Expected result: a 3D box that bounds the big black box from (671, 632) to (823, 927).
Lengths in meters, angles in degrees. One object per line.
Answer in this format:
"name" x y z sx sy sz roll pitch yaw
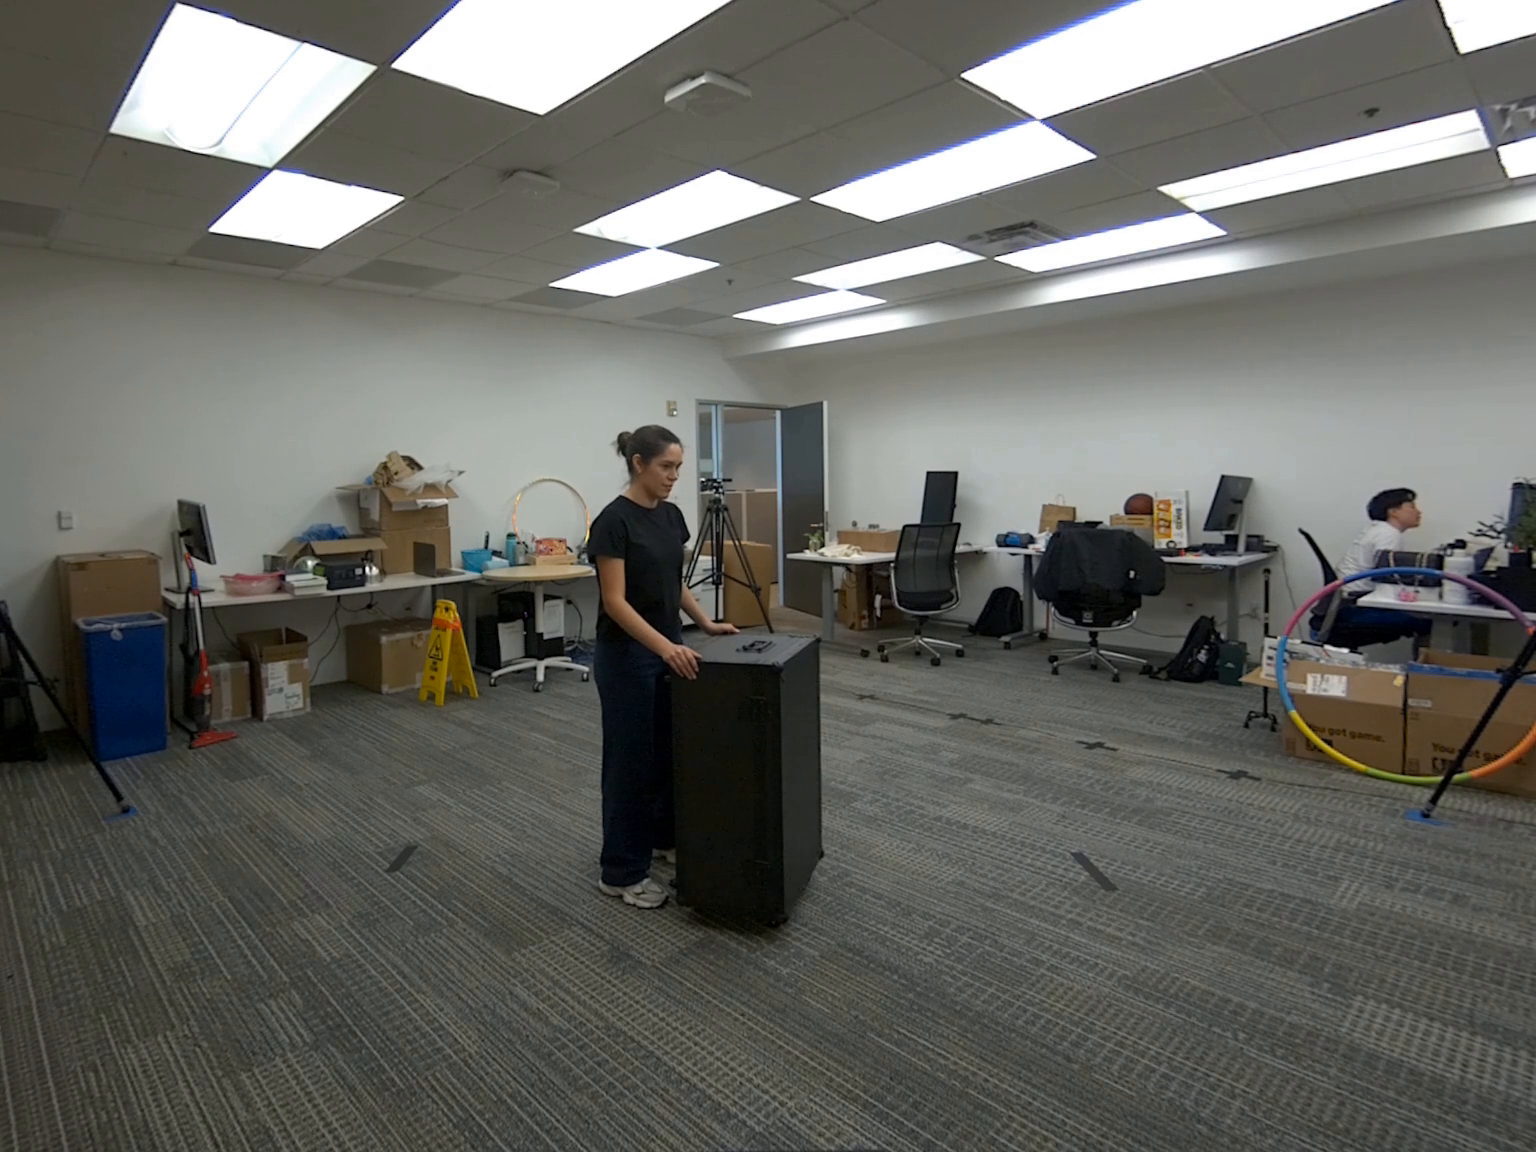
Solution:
"big black box" -0.065 0.649 2.814 0.403 0.859 0.513 -1 4 19
